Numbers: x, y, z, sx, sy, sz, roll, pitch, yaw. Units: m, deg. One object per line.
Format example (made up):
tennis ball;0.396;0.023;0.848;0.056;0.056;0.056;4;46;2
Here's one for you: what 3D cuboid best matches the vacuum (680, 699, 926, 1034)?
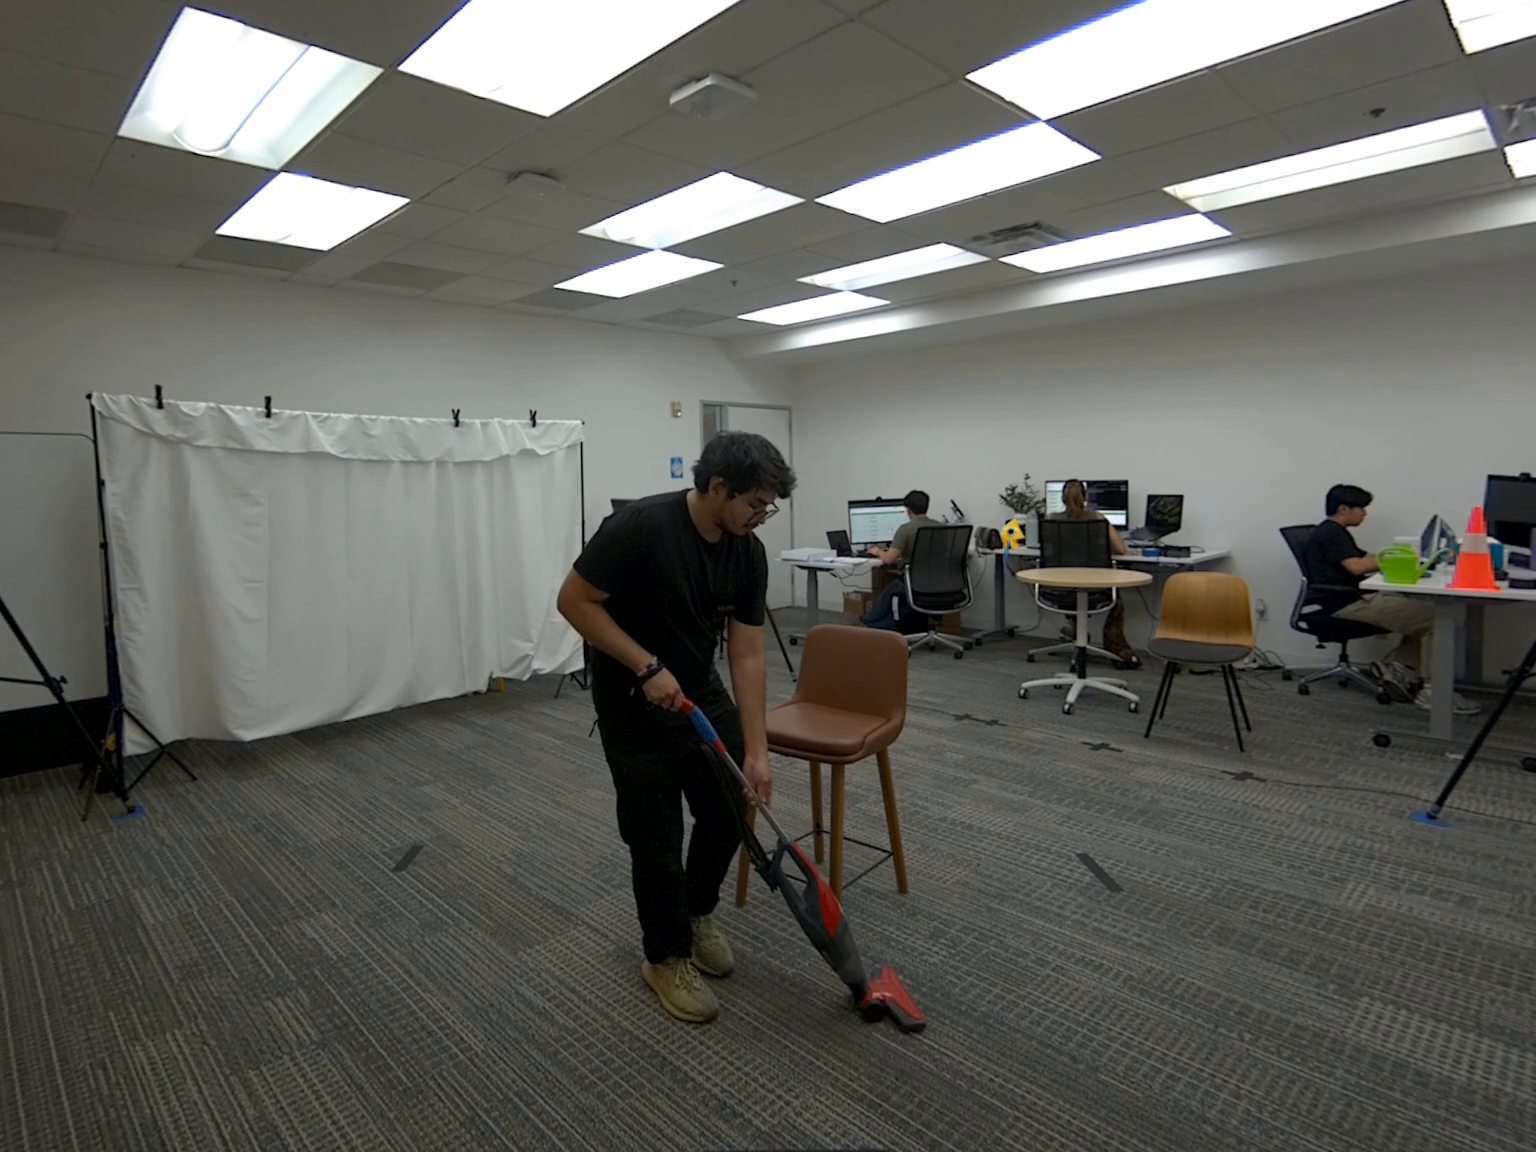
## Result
vacuum;0.034;0.694;2.203;0.143;1.040;0.255;-33;7;-7
